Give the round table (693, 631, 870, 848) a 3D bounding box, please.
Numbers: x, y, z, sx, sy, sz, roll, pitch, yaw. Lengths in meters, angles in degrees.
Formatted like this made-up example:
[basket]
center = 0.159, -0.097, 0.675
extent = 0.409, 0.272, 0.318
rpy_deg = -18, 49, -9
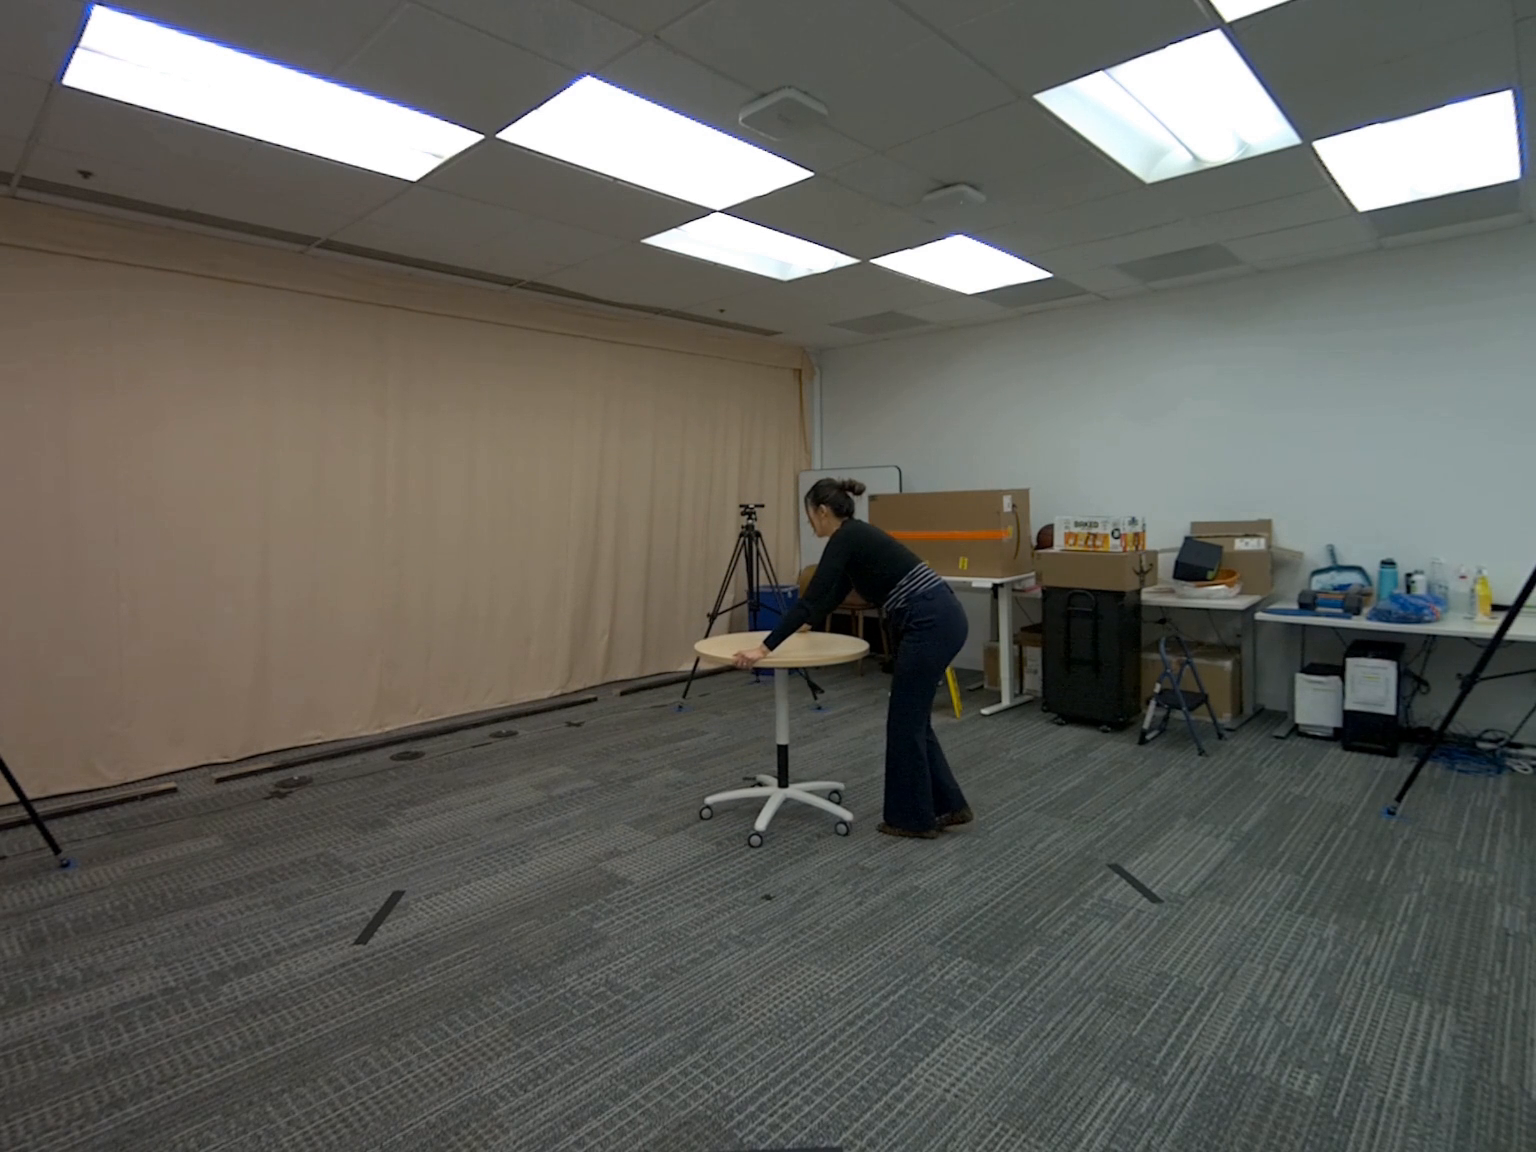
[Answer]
[round table]
center = 0.054, 0.693, 3.721
extent = 0.763, 0.792, 0.766
rpy_deg = -1, 4, -2
